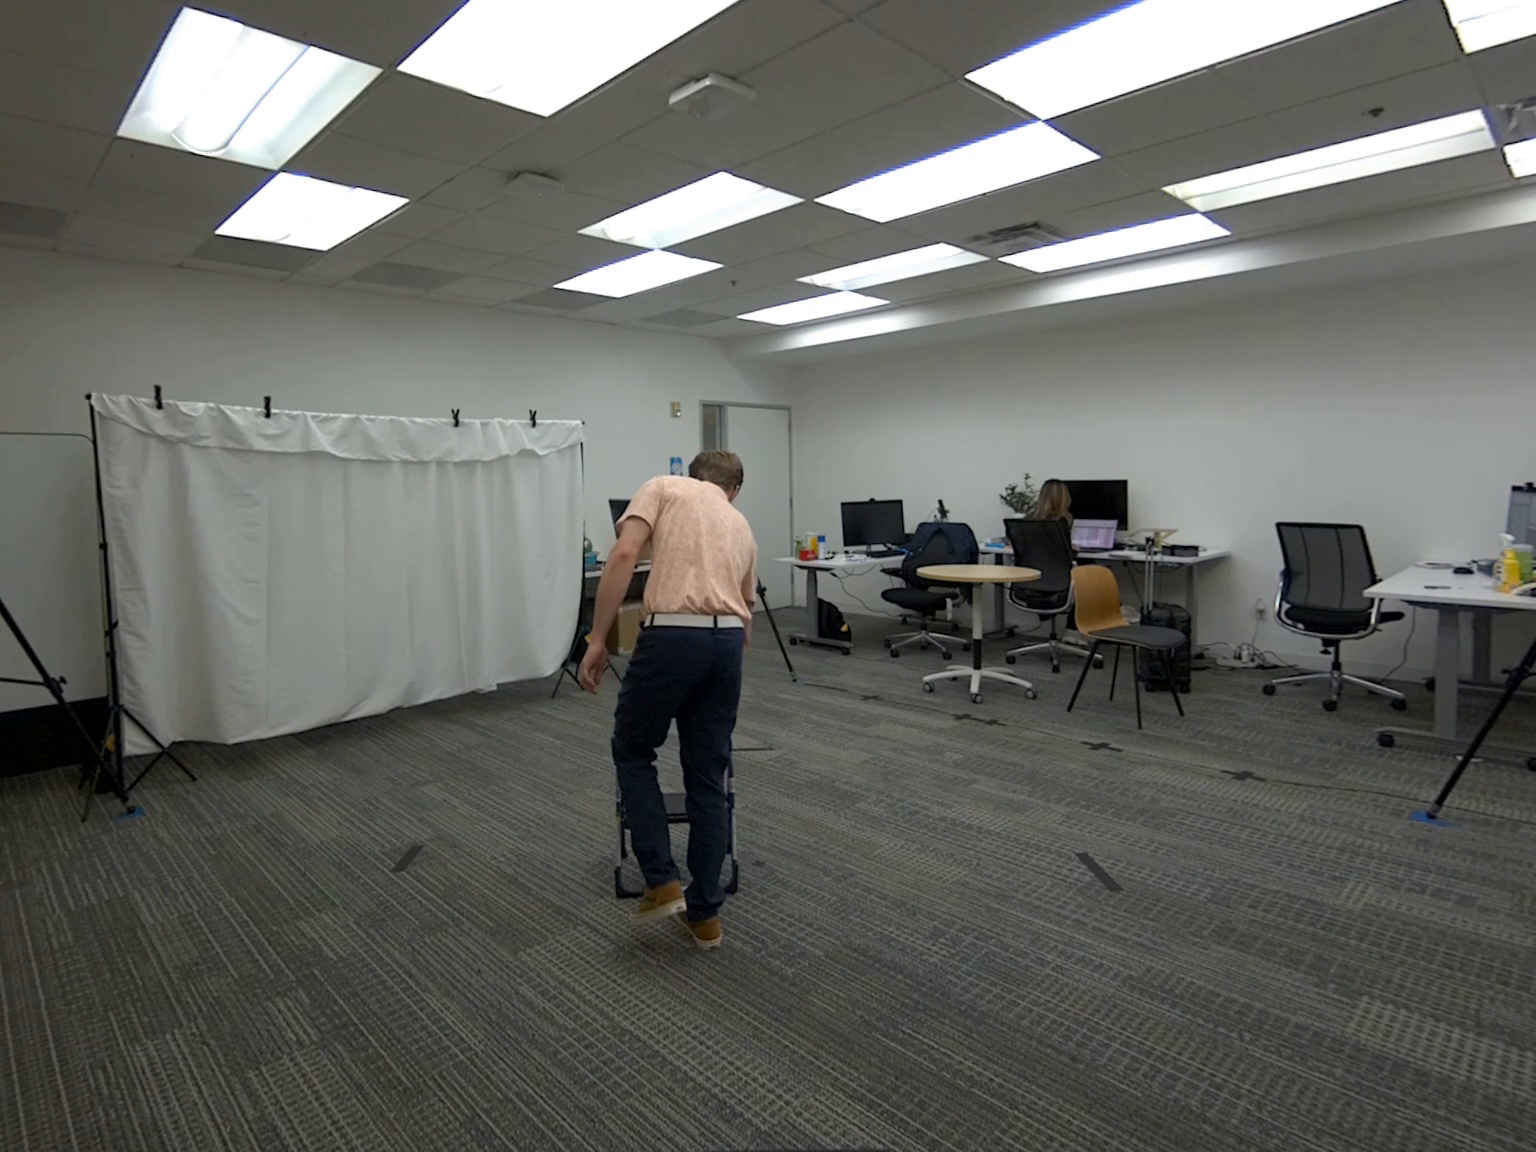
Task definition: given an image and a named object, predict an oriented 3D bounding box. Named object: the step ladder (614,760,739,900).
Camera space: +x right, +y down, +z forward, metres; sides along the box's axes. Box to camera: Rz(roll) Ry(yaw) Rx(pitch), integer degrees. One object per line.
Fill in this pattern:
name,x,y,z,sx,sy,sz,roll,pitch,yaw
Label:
step ladder,-0.328,0.766,3.025,0.429,0.604,0.352,-2,3,-5
